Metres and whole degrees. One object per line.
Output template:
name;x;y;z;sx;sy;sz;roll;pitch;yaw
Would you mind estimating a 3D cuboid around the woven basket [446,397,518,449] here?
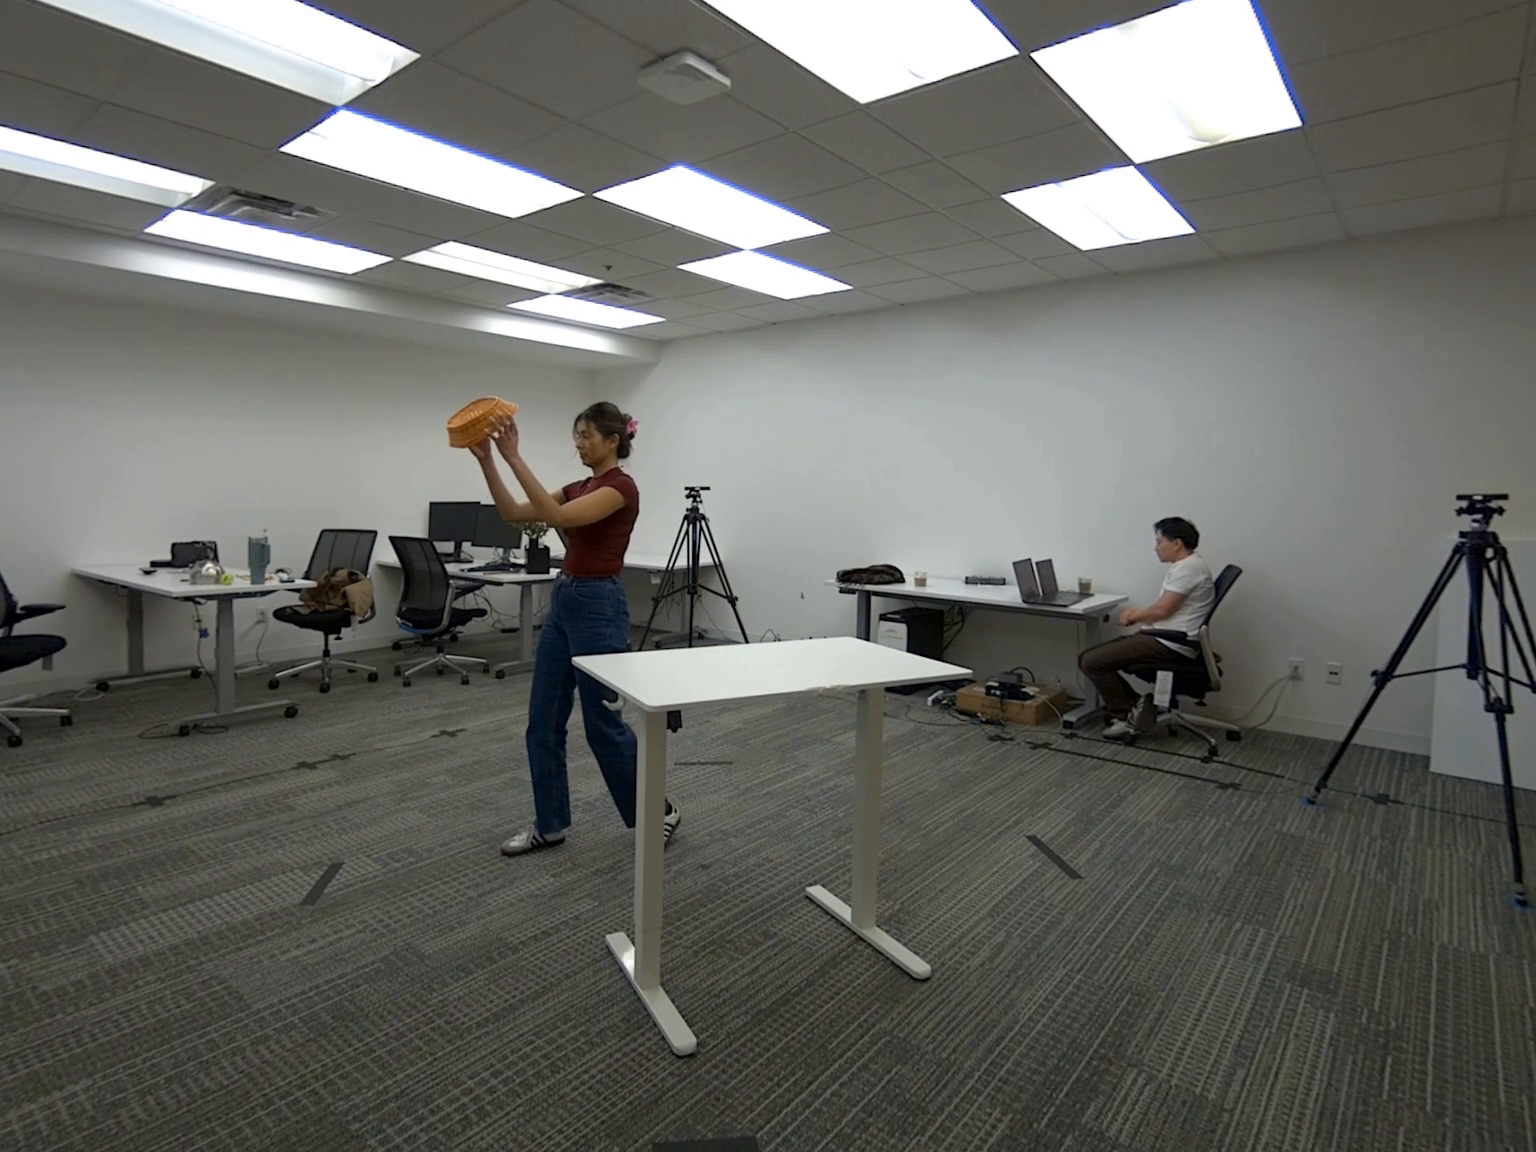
woven basket;-1.013;-0.549;2.968;0.363;0.071;0.252;11;53;49
